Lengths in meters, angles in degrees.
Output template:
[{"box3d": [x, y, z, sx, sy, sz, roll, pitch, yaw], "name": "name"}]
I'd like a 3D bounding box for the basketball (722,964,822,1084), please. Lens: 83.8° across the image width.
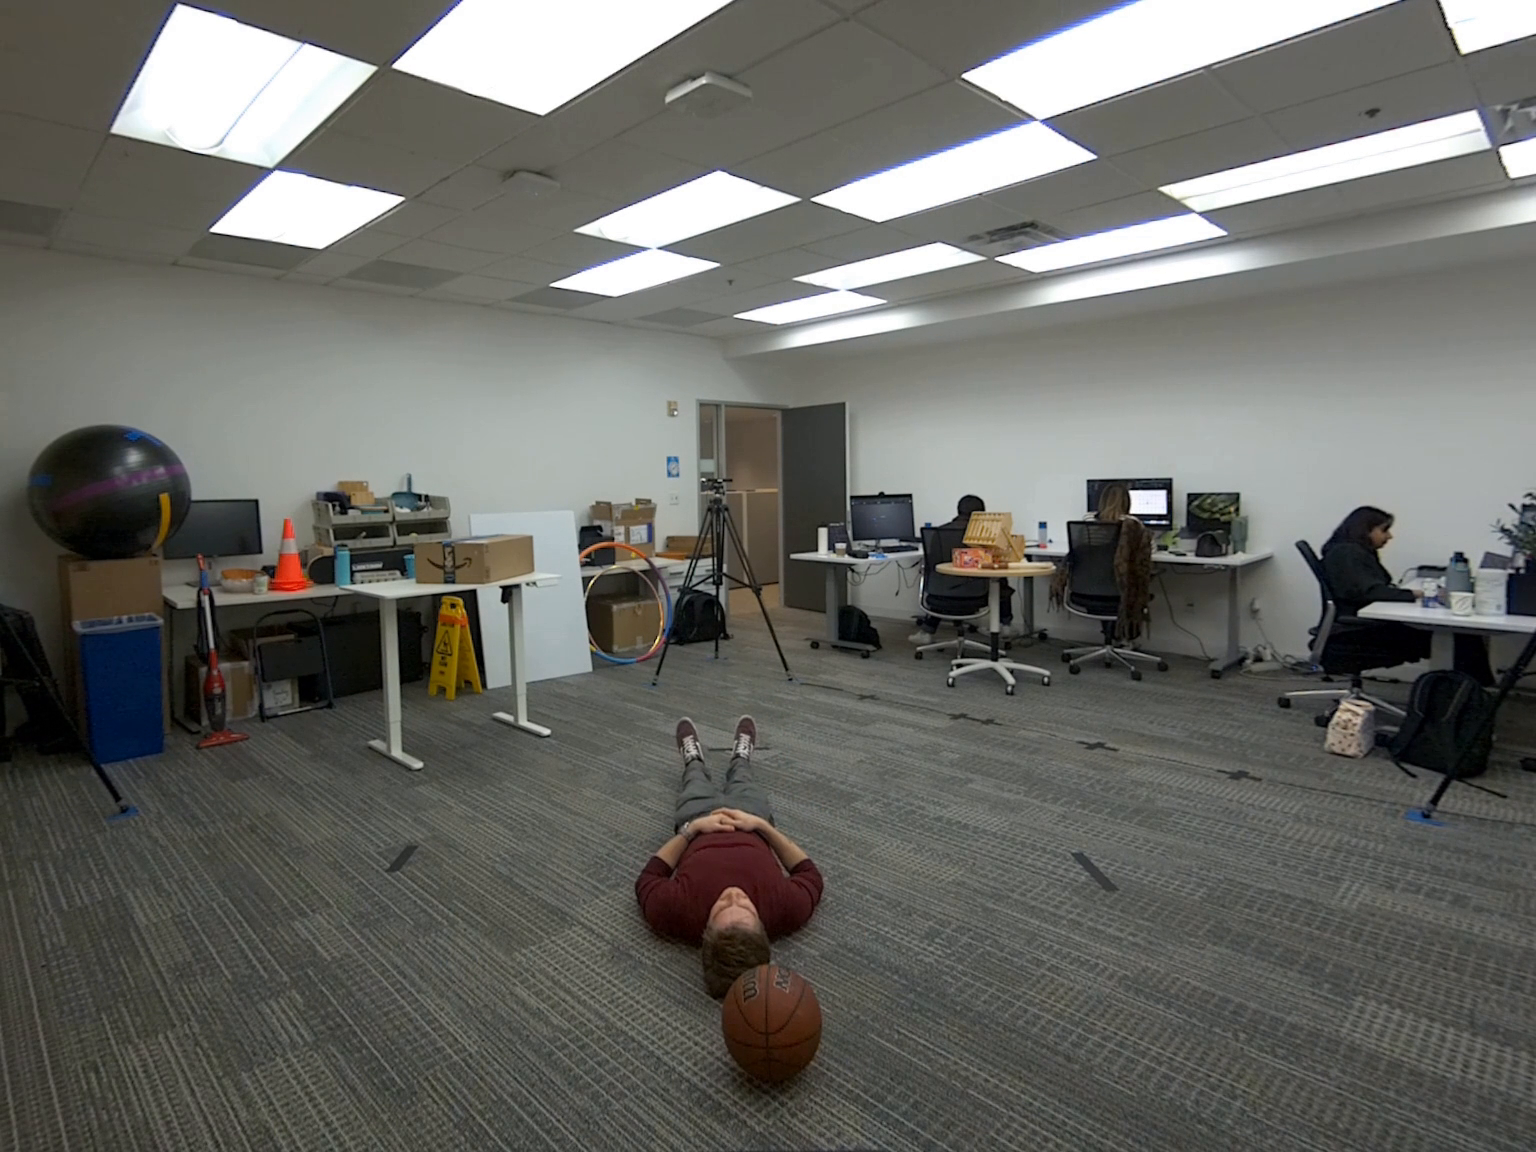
[{"box3d": [0.020, 1.051, 2.025, 0.236, 0.235, 0.237, -1, 5, -2], "name": "basketball"}]
